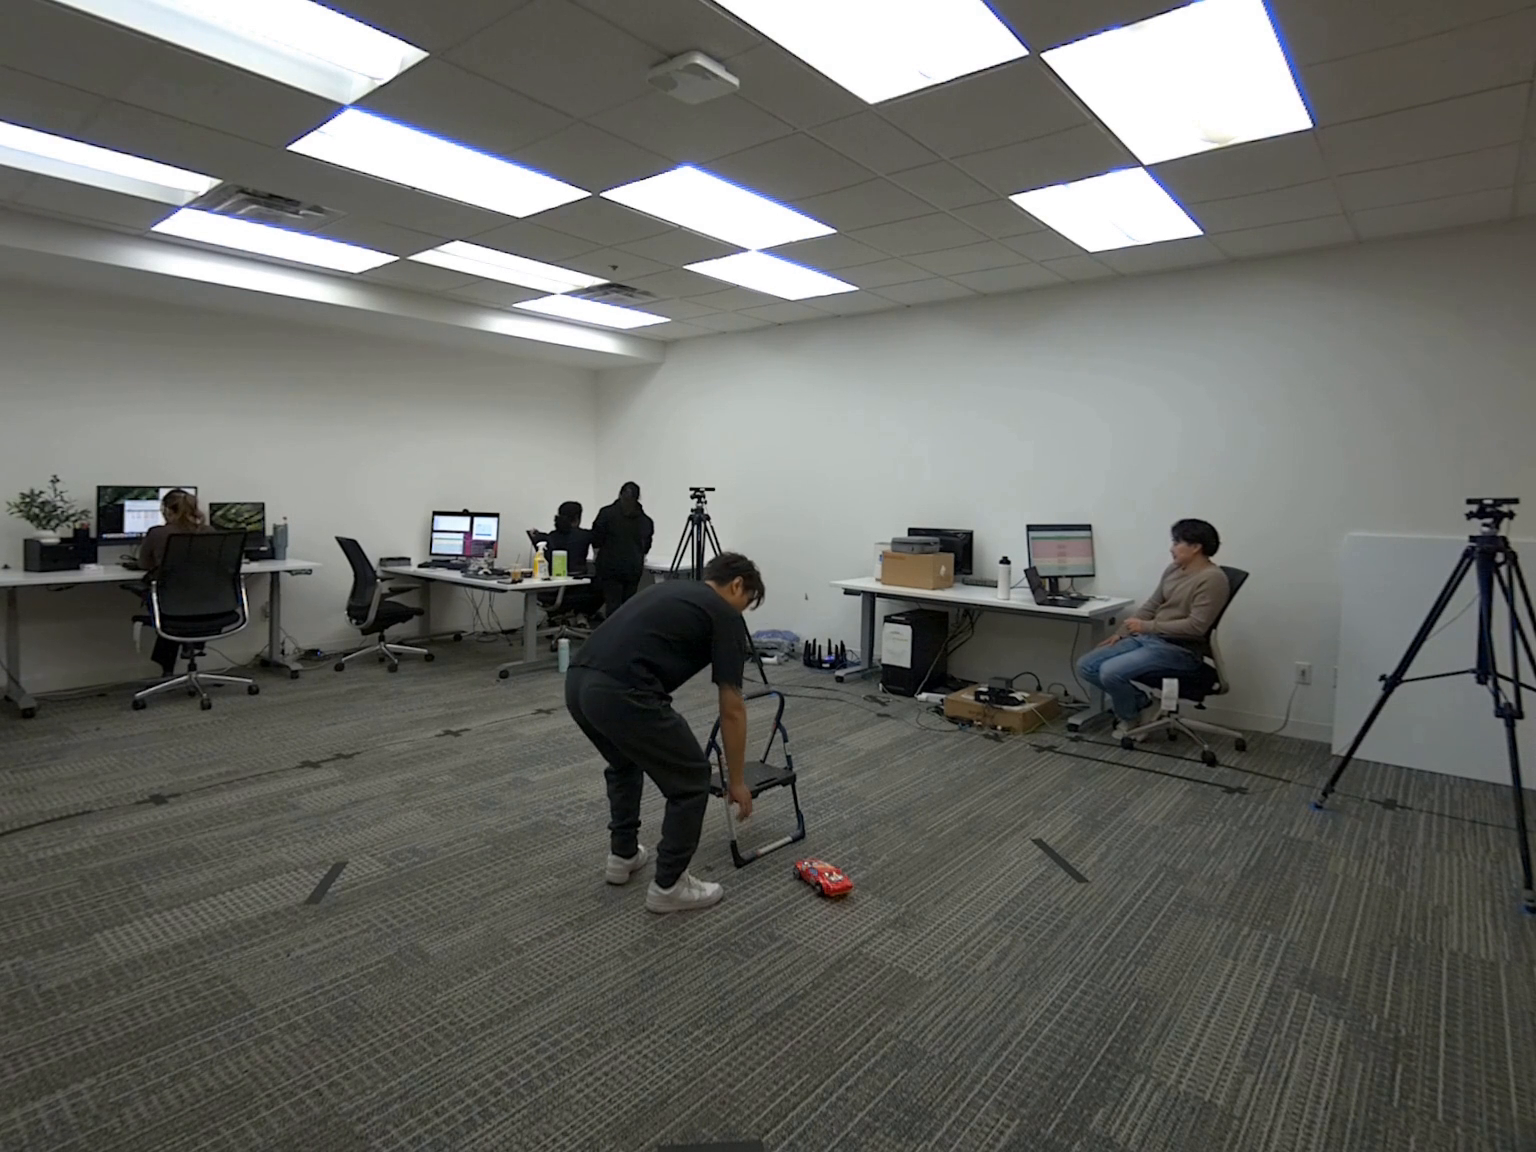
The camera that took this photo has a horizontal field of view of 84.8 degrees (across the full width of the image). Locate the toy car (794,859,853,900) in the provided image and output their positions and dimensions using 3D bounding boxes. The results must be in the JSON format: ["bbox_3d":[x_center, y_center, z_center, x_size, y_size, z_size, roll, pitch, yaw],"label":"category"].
[{"bbox_3d":[0.191,1.059,2.977,0.127,0.084,0.259,-1,-6,-28],"label":"toy car"}]
